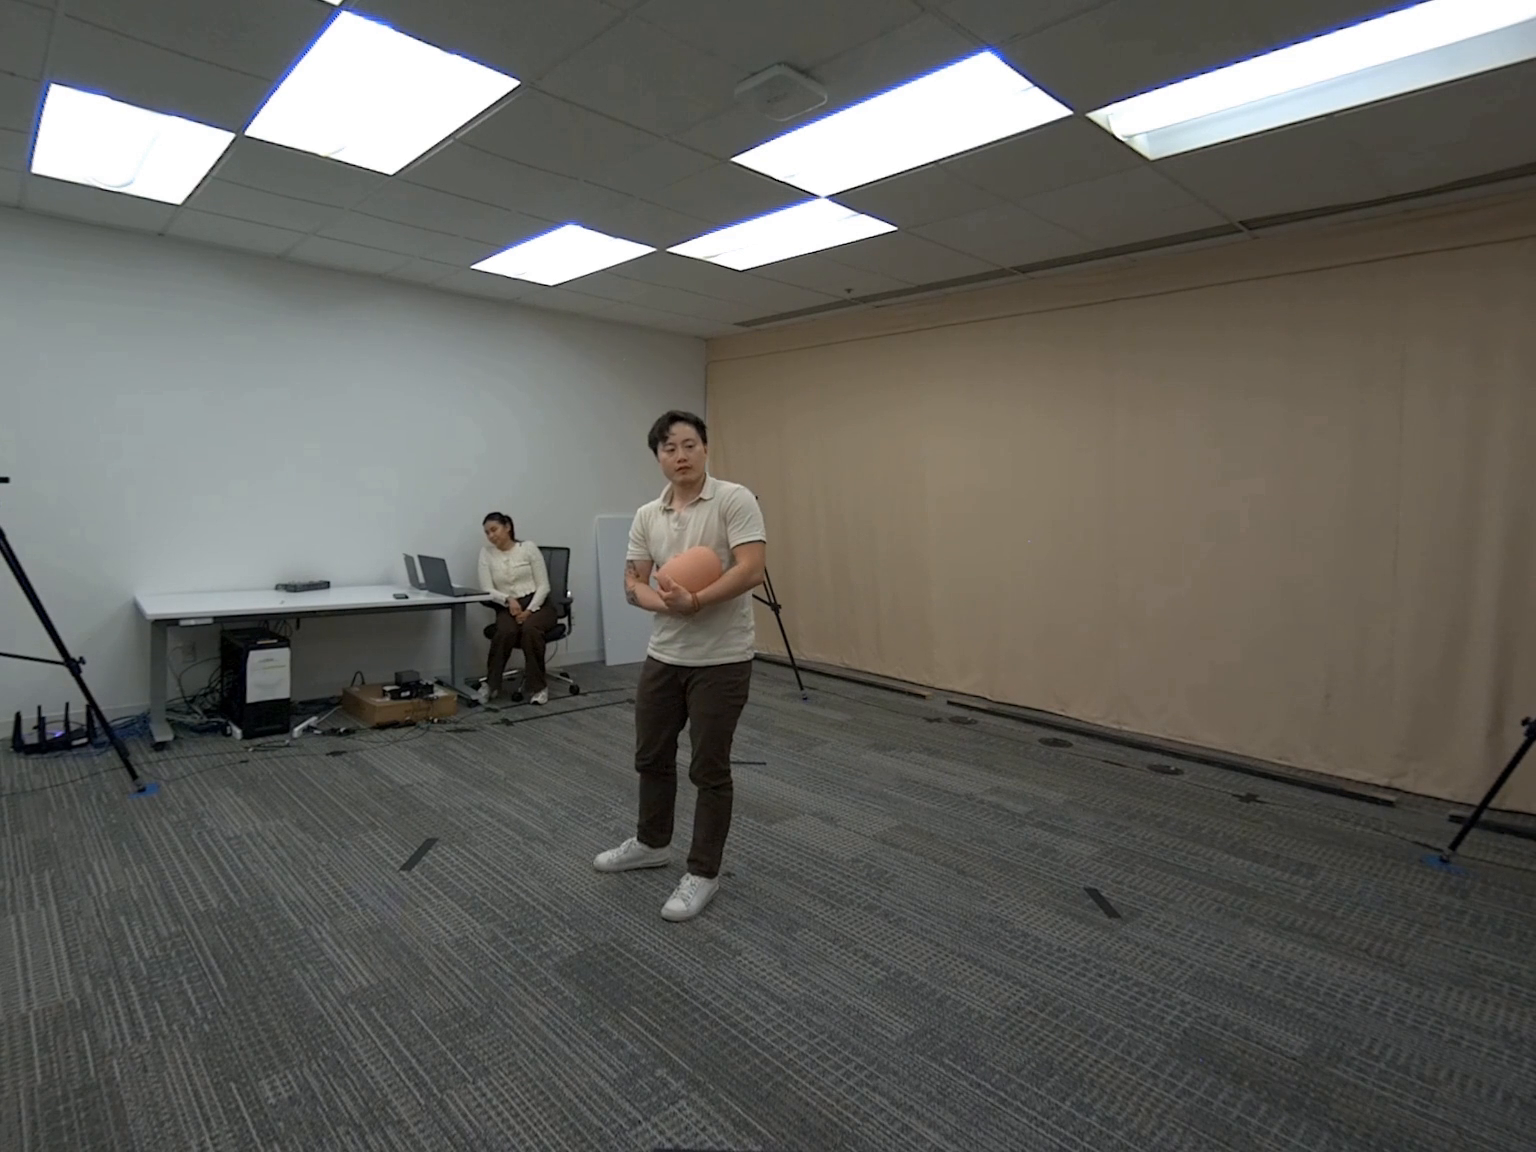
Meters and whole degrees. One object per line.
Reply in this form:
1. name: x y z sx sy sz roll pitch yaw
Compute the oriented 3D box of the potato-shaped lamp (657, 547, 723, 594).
1. potato-shaped lamp: -0.259 -0.006 2.710 0.176 0.198 0.160 37 -13 27
